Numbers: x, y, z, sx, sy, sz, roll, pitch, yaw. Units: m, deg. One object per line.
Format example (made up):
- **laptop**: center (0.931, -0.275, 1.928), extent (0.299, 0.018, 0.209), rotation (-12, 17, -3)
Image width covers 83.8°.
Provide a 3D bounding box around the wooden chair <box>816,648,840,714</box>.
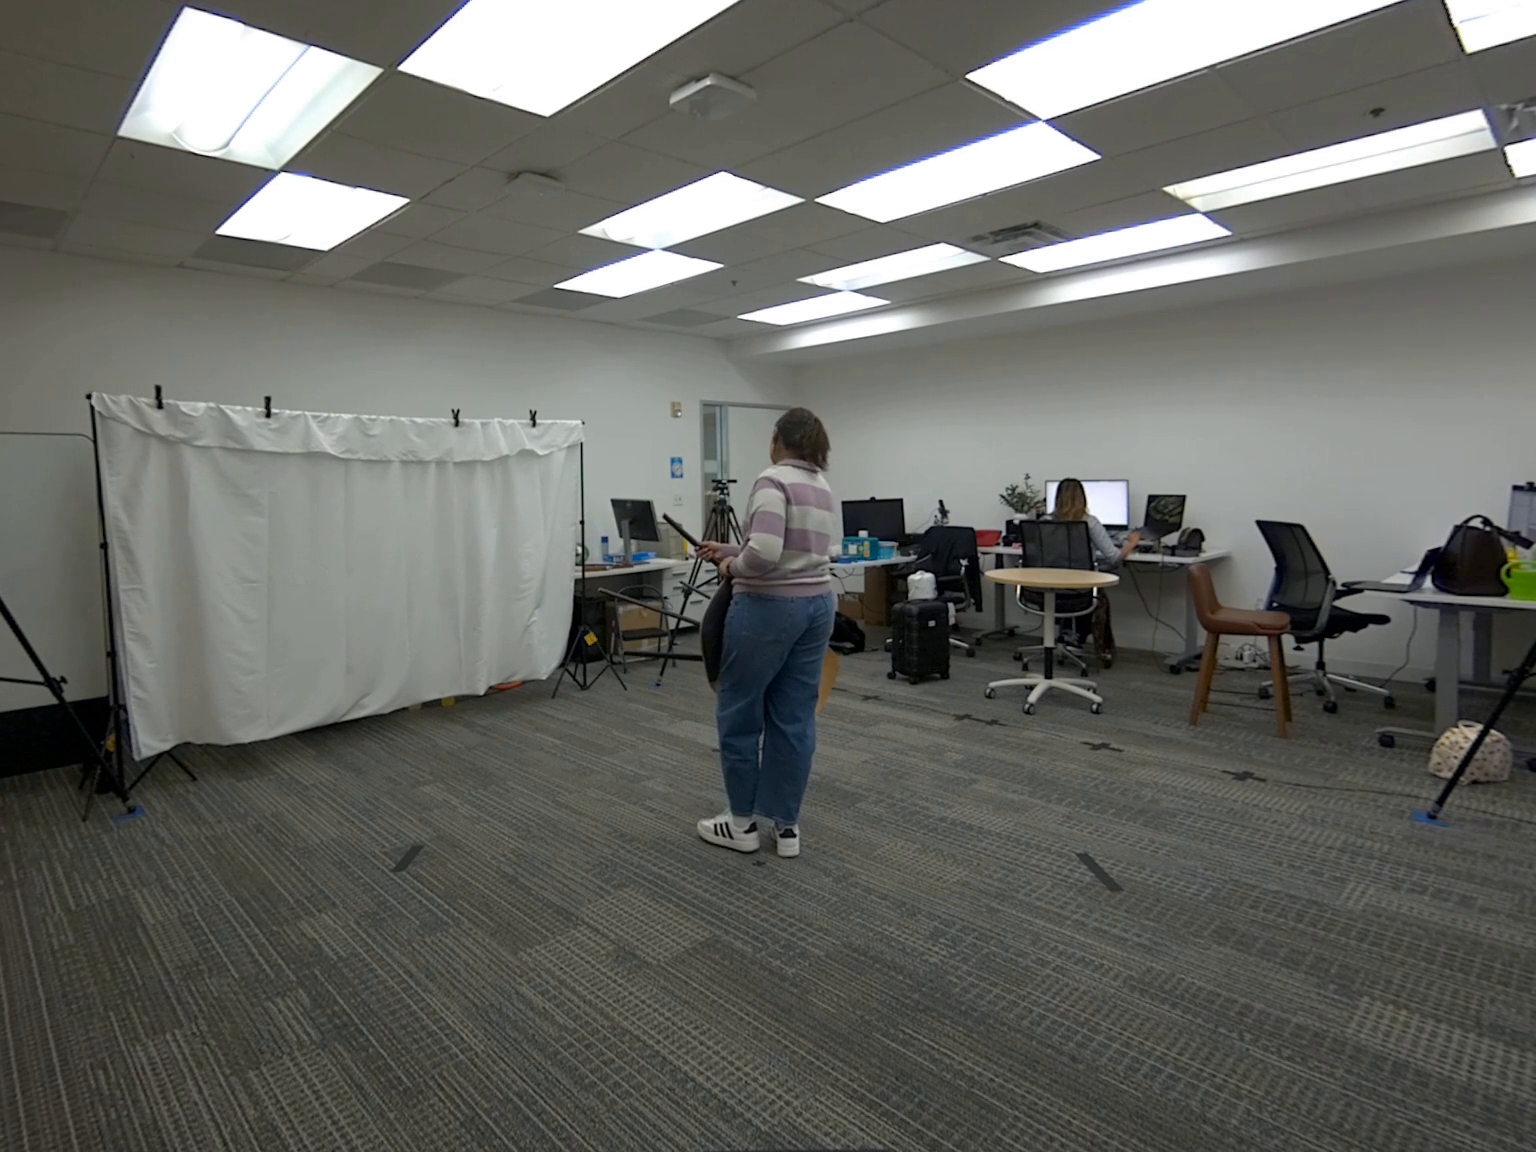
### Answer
- **wooden chair**: center (-0.154, 0.189, 3.405), extent (0.901, 0.508, 0.479), rotation (25, 58, 22)
